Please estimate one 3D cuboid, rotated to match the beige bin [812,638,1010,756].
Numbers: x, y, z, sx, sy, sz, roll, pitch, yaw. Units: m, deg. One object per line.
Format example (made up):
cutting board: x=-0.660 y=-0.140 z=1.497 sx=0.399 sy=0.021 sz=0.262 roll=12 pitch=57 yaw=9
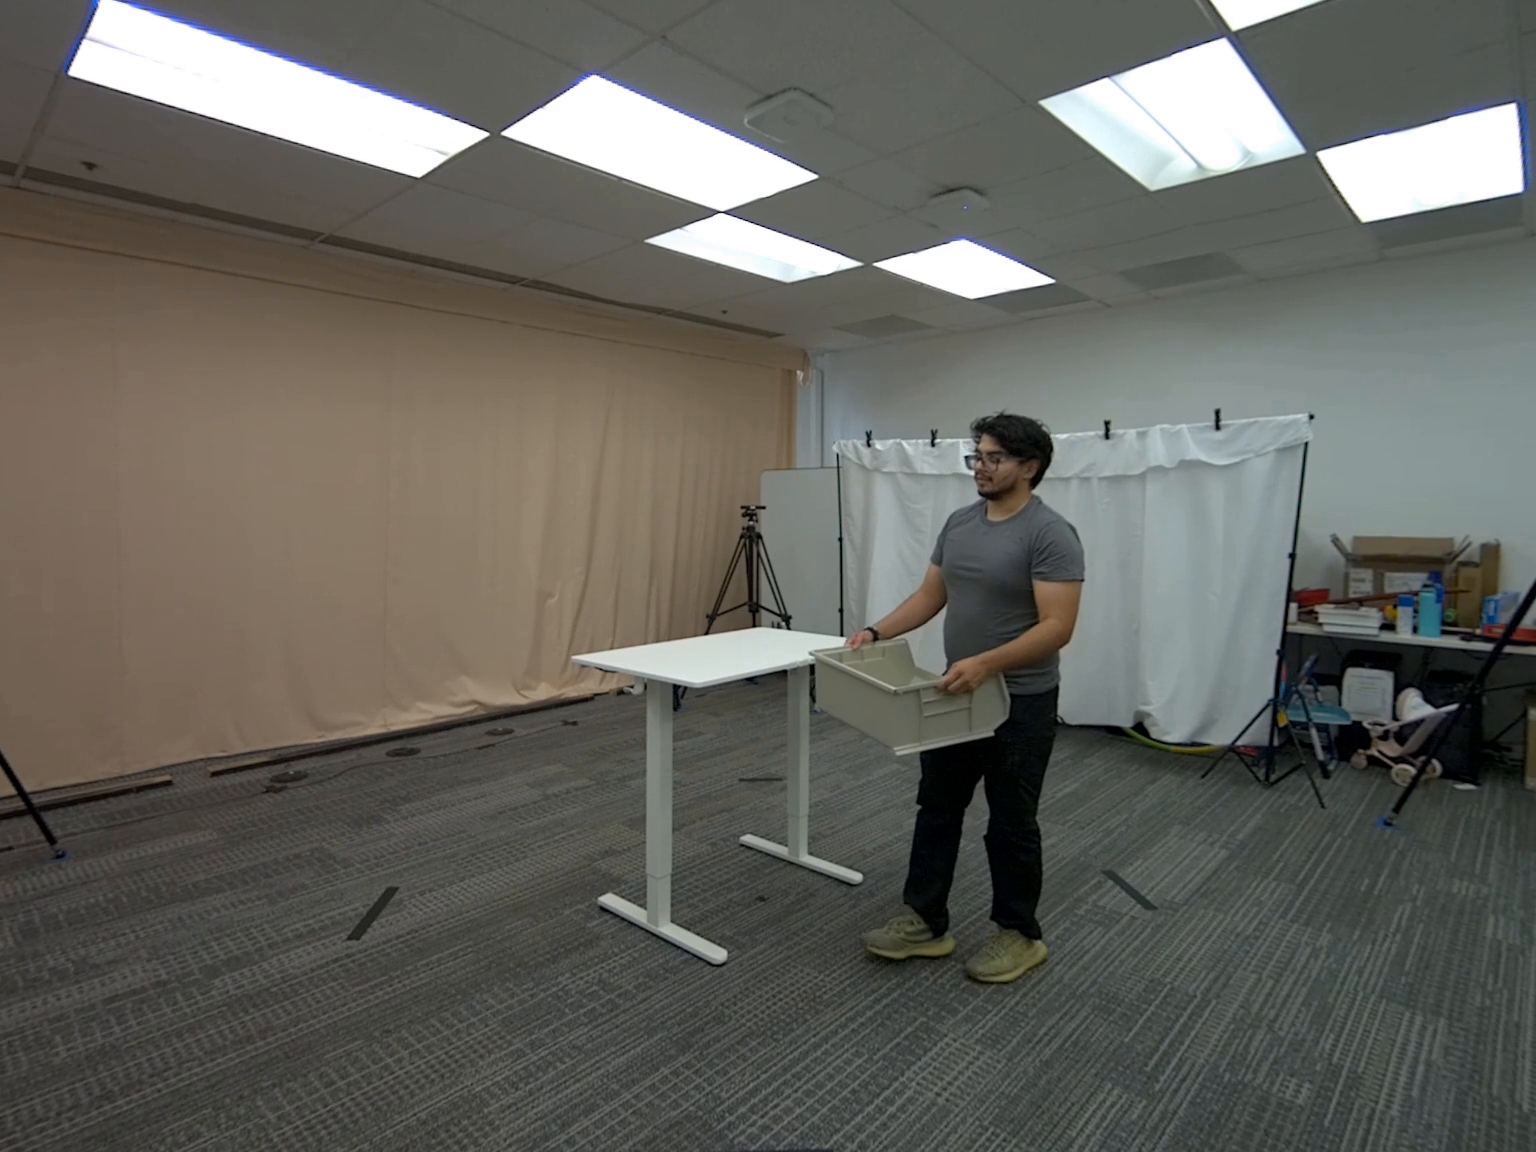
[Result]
beige bin: x=0.391 y=0.322 z=2.350 sx=0.369 sy=0.188 sz=0.434 roll=-5 pitch=11 yaw=-24
